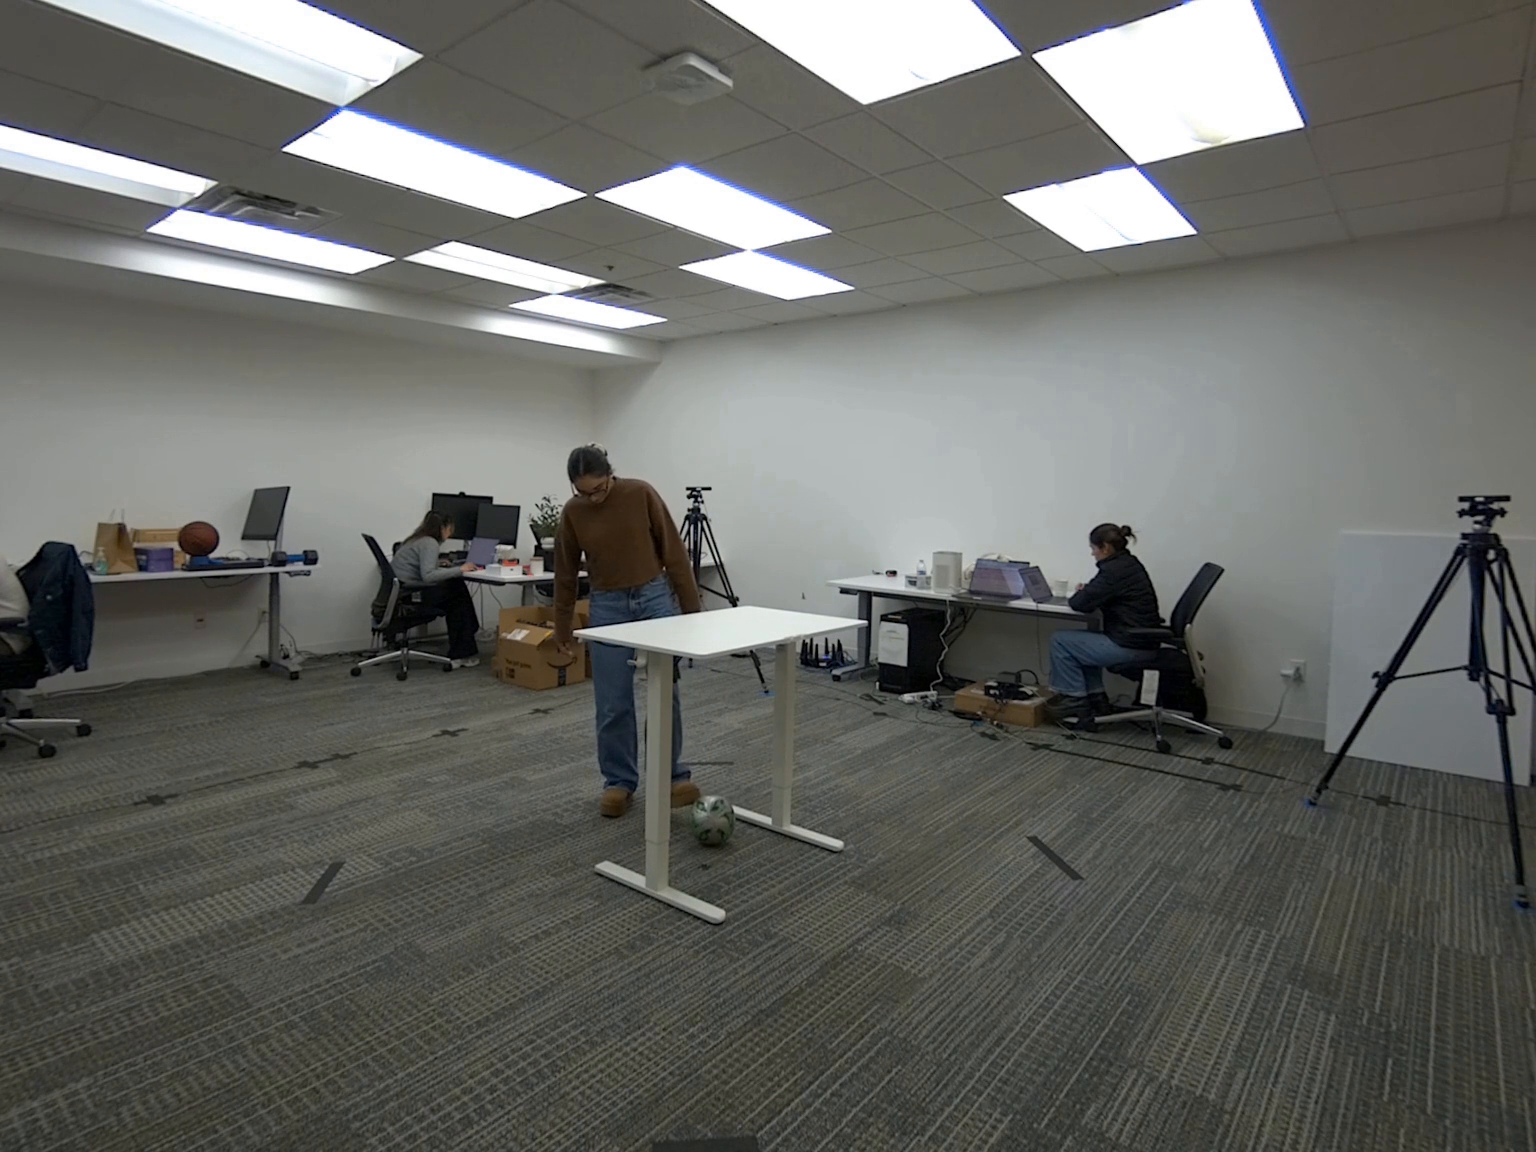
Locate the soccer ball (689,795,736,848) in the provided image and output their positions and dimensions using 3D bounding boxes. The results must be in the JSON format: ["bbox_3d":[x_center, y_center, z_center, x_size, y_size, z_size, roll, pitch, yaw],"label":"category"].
[{"bbox_3d":[-0.229,0.951,3.328,0.187,0.187,0.188,1,4,-2],"label":"soccer ball"}]
